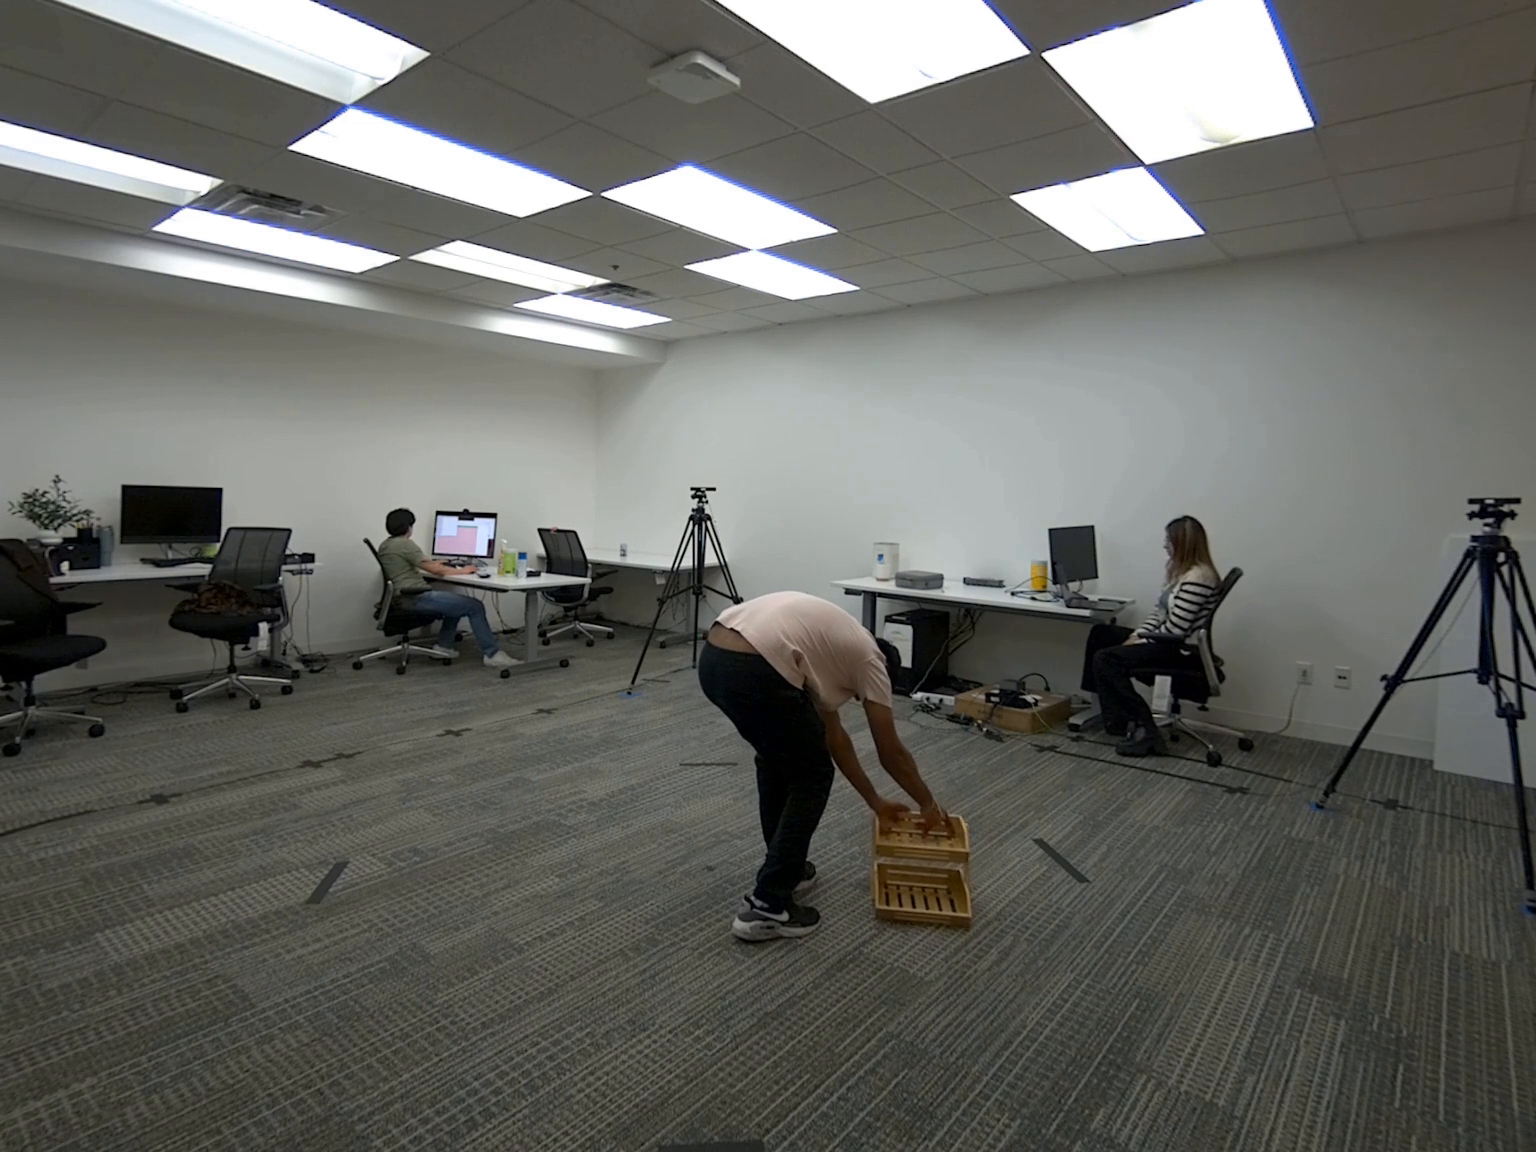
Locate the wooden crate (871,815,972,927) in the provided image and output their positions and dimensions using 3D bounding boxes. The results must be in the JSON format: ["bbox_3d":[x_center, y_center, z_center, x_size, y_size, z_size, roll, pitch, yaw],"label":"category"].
[{"bbox_3d":[0.505,0.974,2.869,0.327,0.272,0.301,2,4,6],"label":"wooden crate"}]
